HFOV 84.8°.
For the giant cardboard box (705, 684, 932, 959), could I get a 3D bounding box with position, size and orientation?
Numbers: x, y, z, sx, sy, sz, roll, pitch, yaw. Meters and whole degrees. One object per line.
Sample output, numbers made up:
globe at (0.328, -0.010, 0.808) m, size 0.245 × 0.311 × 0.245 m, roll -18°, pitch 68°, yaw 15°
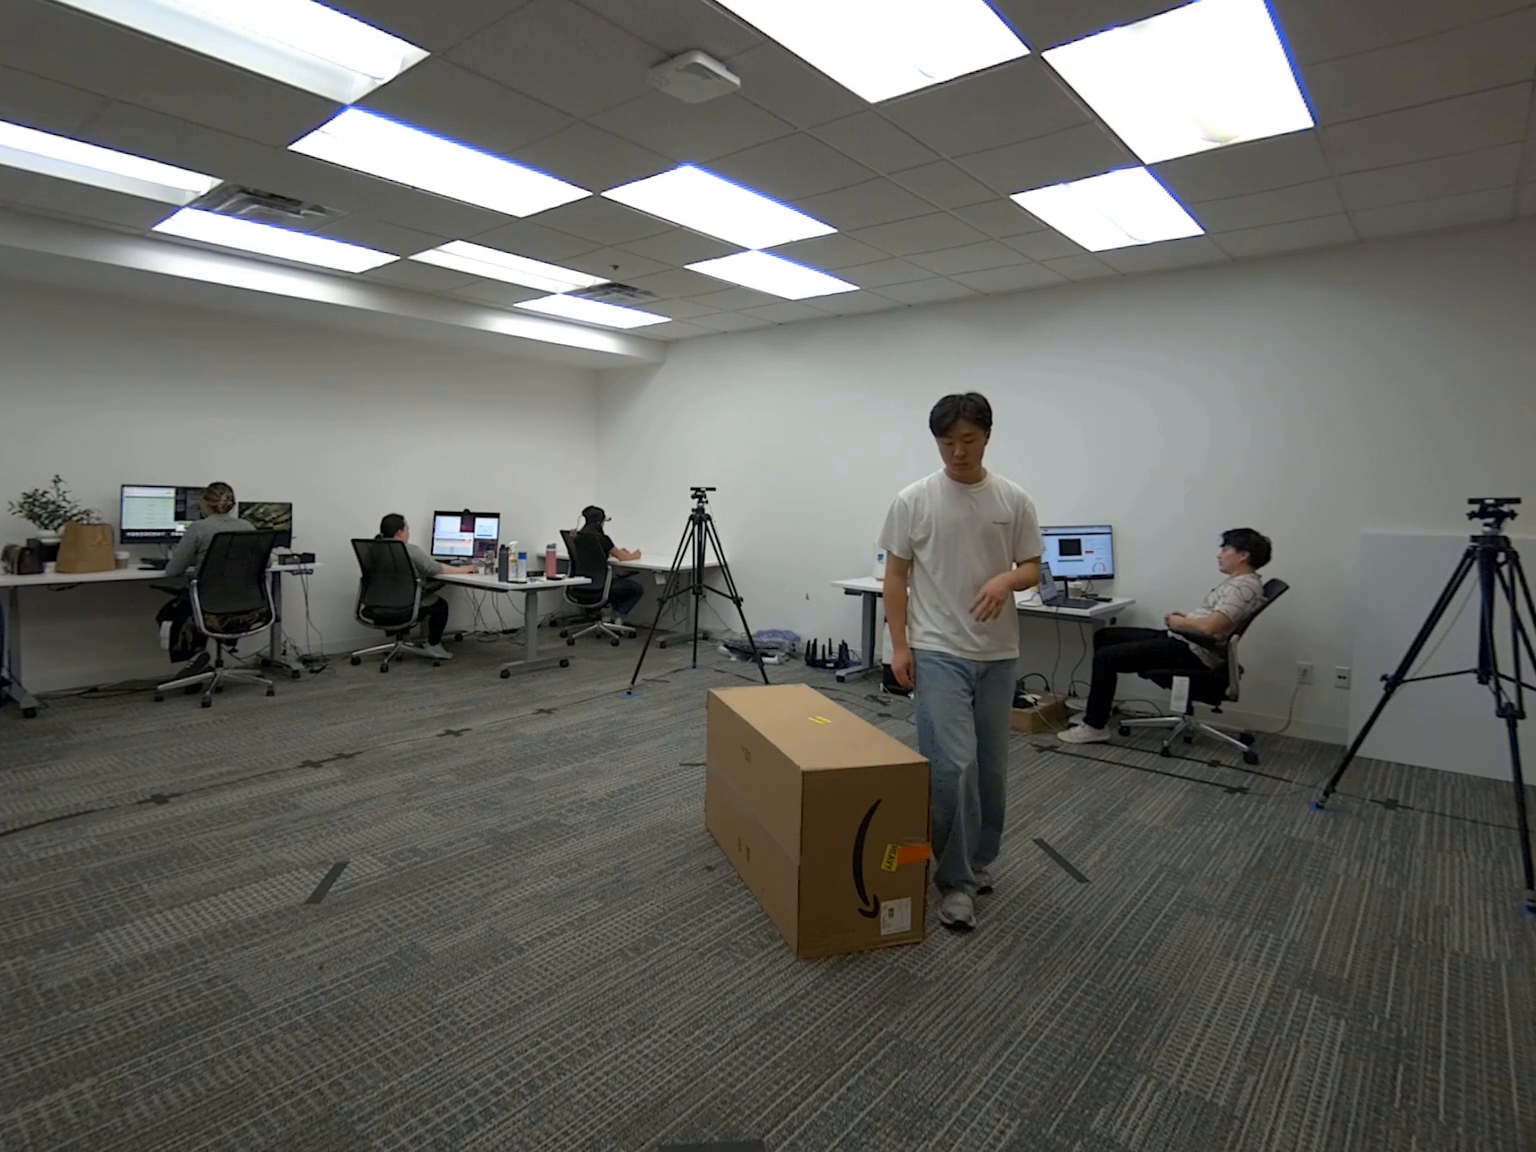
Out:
giant cardboard box at (0.113, 0.789, 3.040) m, size 0.418 × 0.575 × 1.049 m, roll 0°, pitch 6°, yaw -19°
